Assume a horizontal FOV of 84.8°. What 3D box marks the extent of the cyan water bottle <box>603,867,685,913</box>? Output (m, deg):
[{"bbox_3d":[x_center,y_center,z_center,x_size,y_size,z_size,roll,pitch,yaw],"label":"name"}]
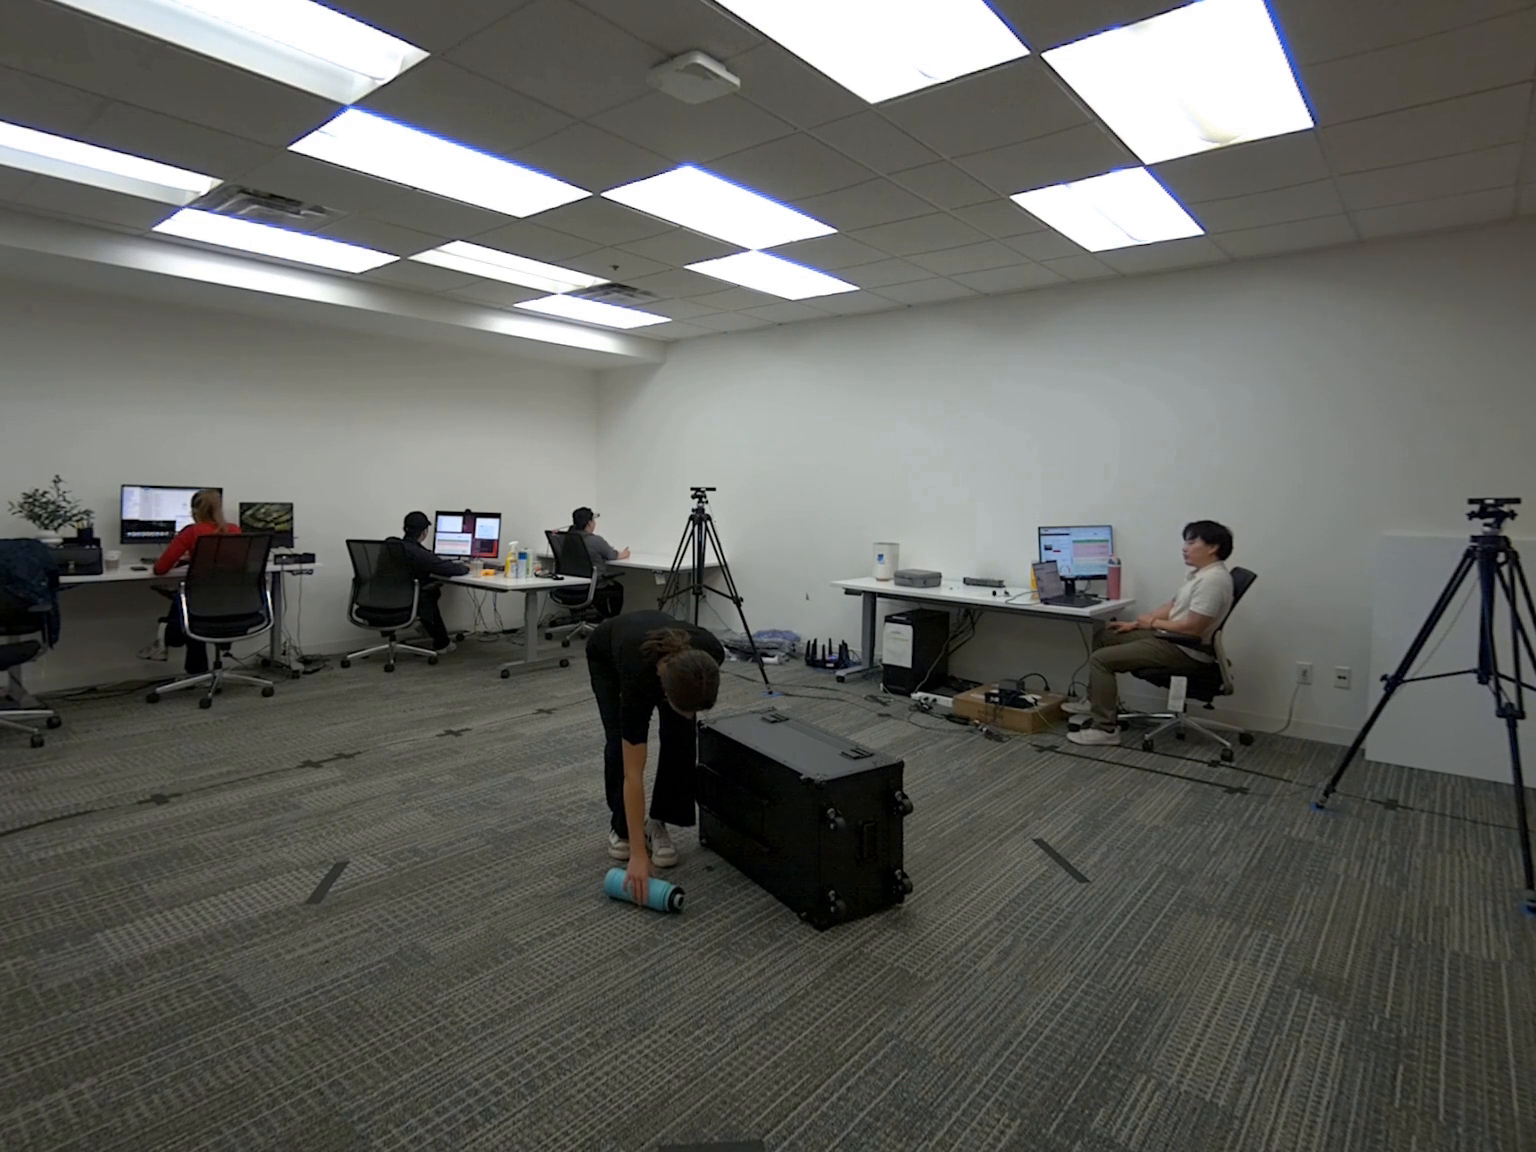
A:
[{"bbox_3d":[-0.416,1.047,2.841,0.290,0.092,0.090,6,6,23],"label":"cyan water bottle"}]
